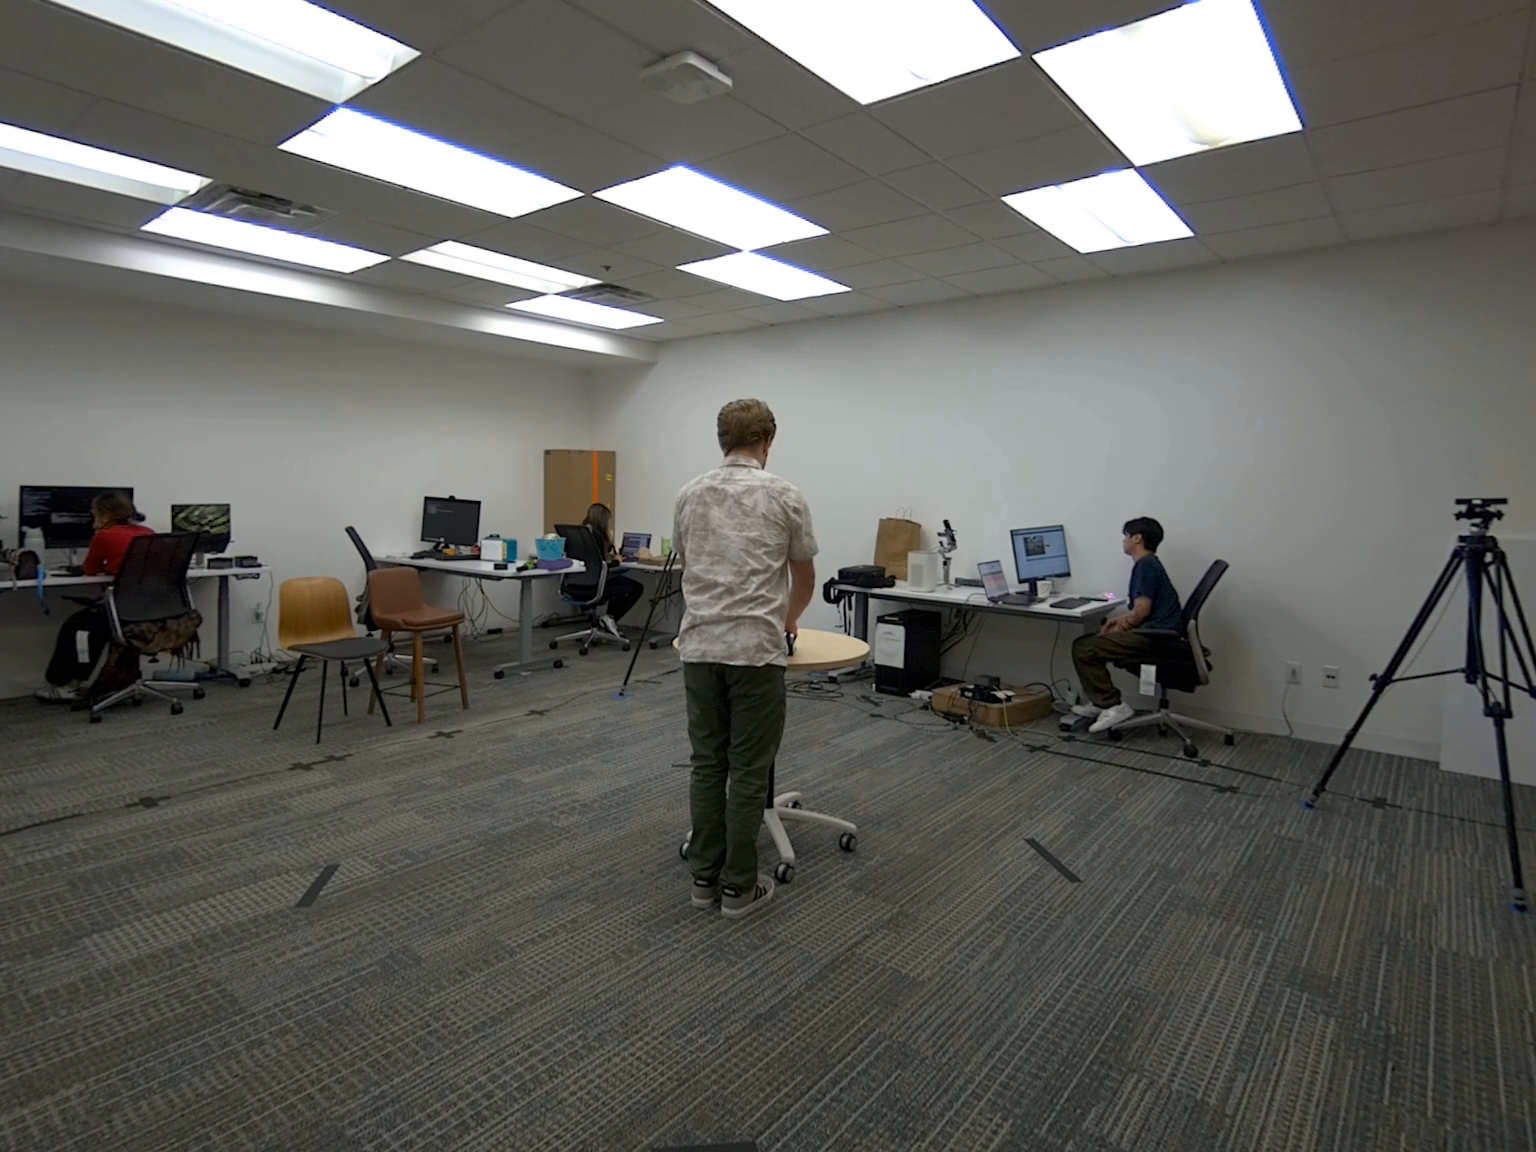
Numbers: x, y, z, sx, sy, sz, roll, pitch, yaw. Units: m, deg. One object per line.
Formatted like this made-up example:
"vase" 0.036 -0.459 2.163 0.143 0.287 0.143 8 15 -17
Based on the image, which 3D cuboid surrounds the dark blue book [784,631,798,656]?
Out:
"dark blue book" -0.023 0.257 3.176 0.247 0.045 0.162 1 5 8
